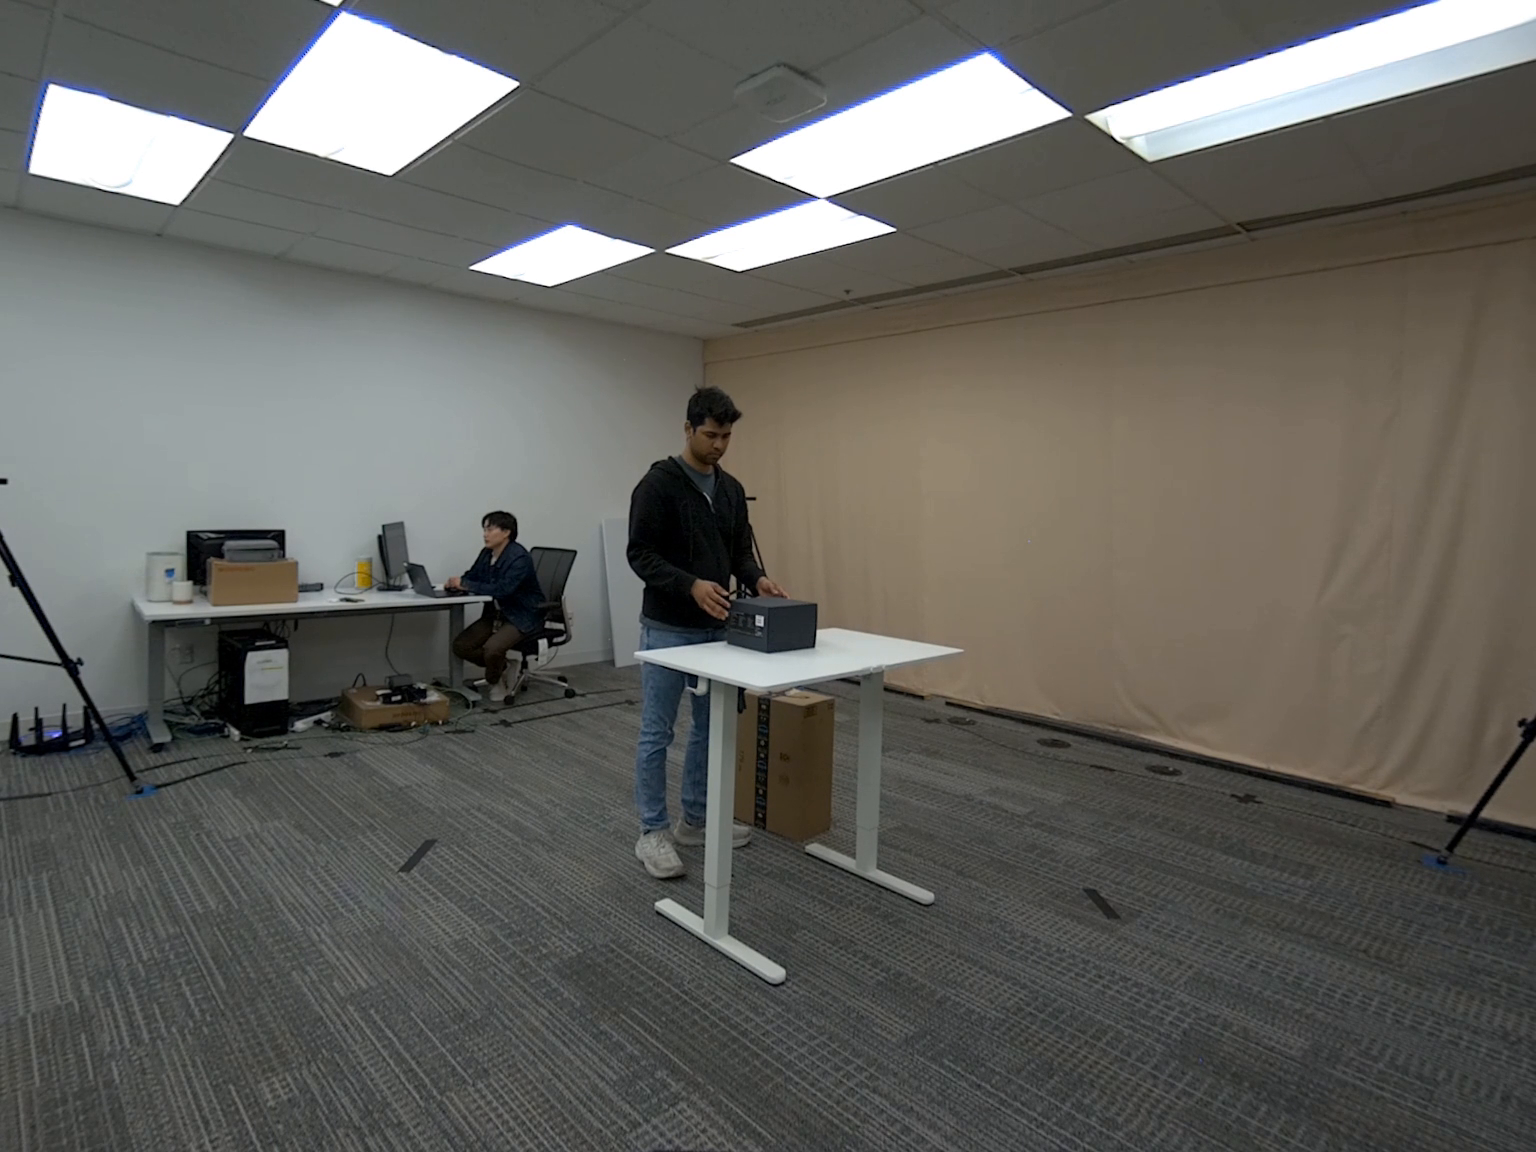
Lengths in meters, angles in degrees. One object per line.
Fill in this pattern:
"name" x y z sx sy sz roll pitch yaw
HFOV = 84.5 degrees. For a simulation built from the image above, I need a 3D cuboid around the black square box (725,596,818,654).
"black square box" 0.010 0.165 2.918 0.223 0.155 0.222 -2 6 -41
